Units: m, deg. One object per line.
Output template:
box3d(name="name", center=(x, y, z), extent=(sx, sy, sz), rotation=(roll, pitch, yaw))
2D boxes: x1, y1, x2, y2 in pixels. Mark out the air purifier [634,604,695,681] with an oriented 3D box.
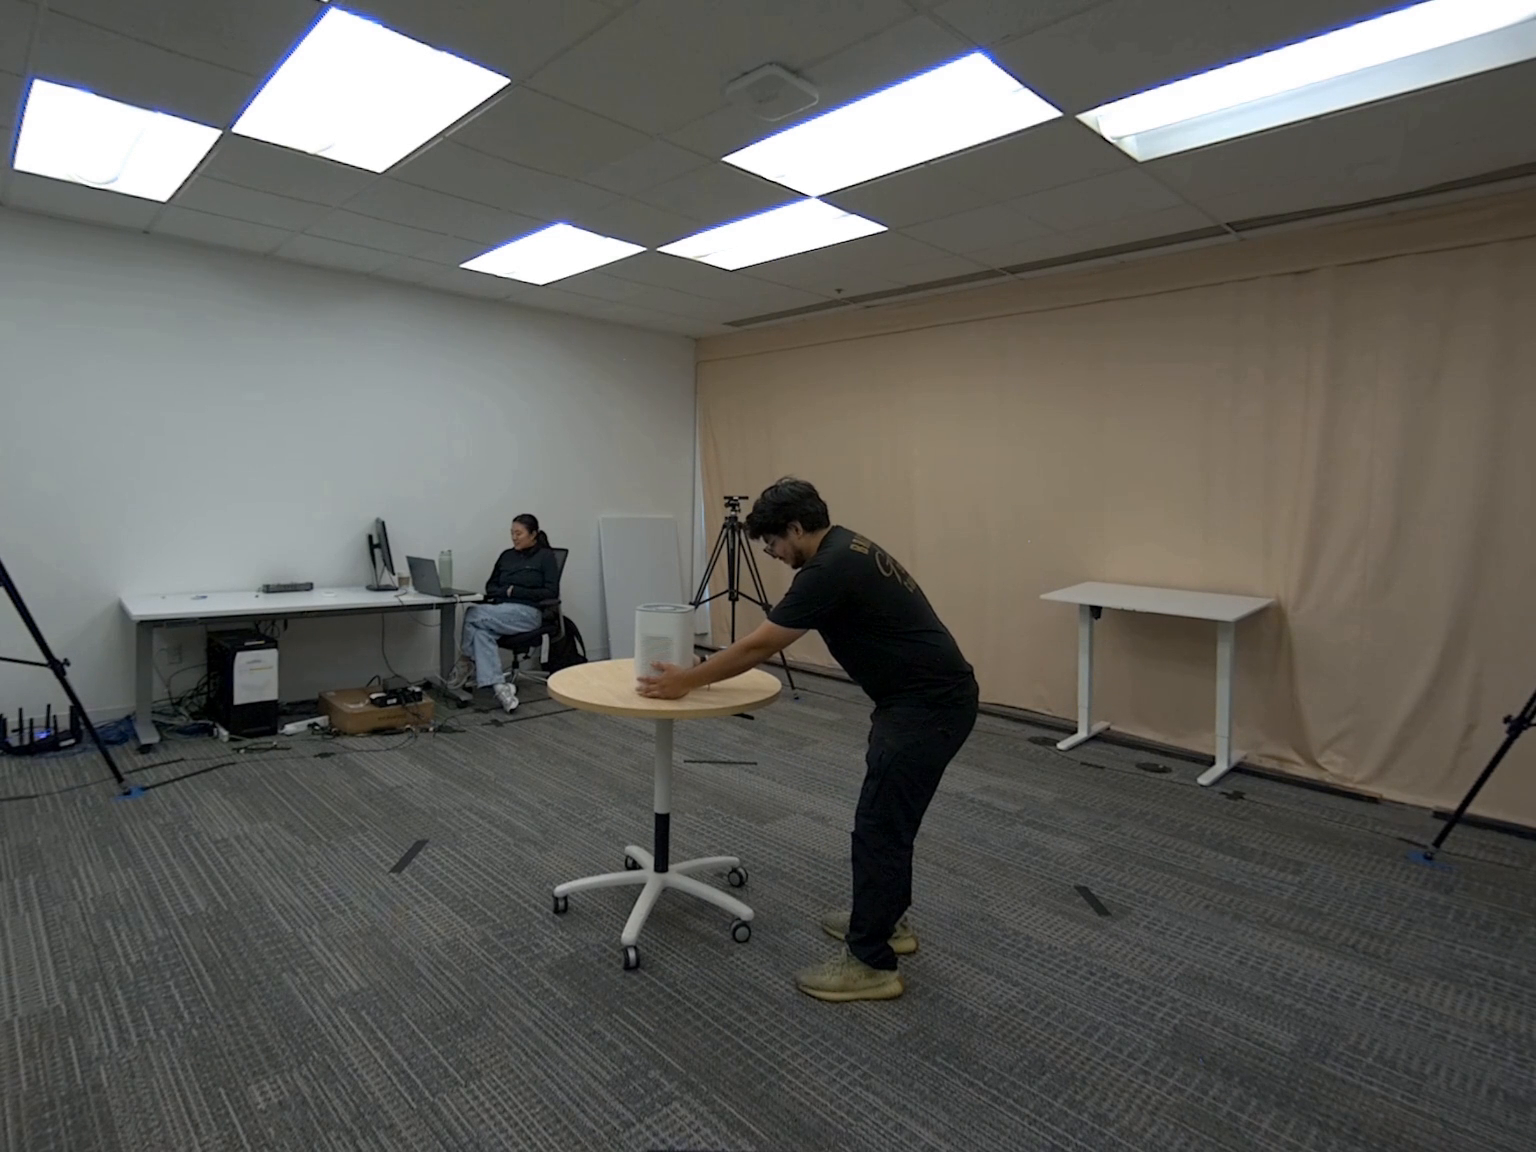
box3d(name="air purifier", center=(-0.314, 0.224, 2.620), extent=(0.173, 0.265, 0.170), rotation=(3, 3, 9))
